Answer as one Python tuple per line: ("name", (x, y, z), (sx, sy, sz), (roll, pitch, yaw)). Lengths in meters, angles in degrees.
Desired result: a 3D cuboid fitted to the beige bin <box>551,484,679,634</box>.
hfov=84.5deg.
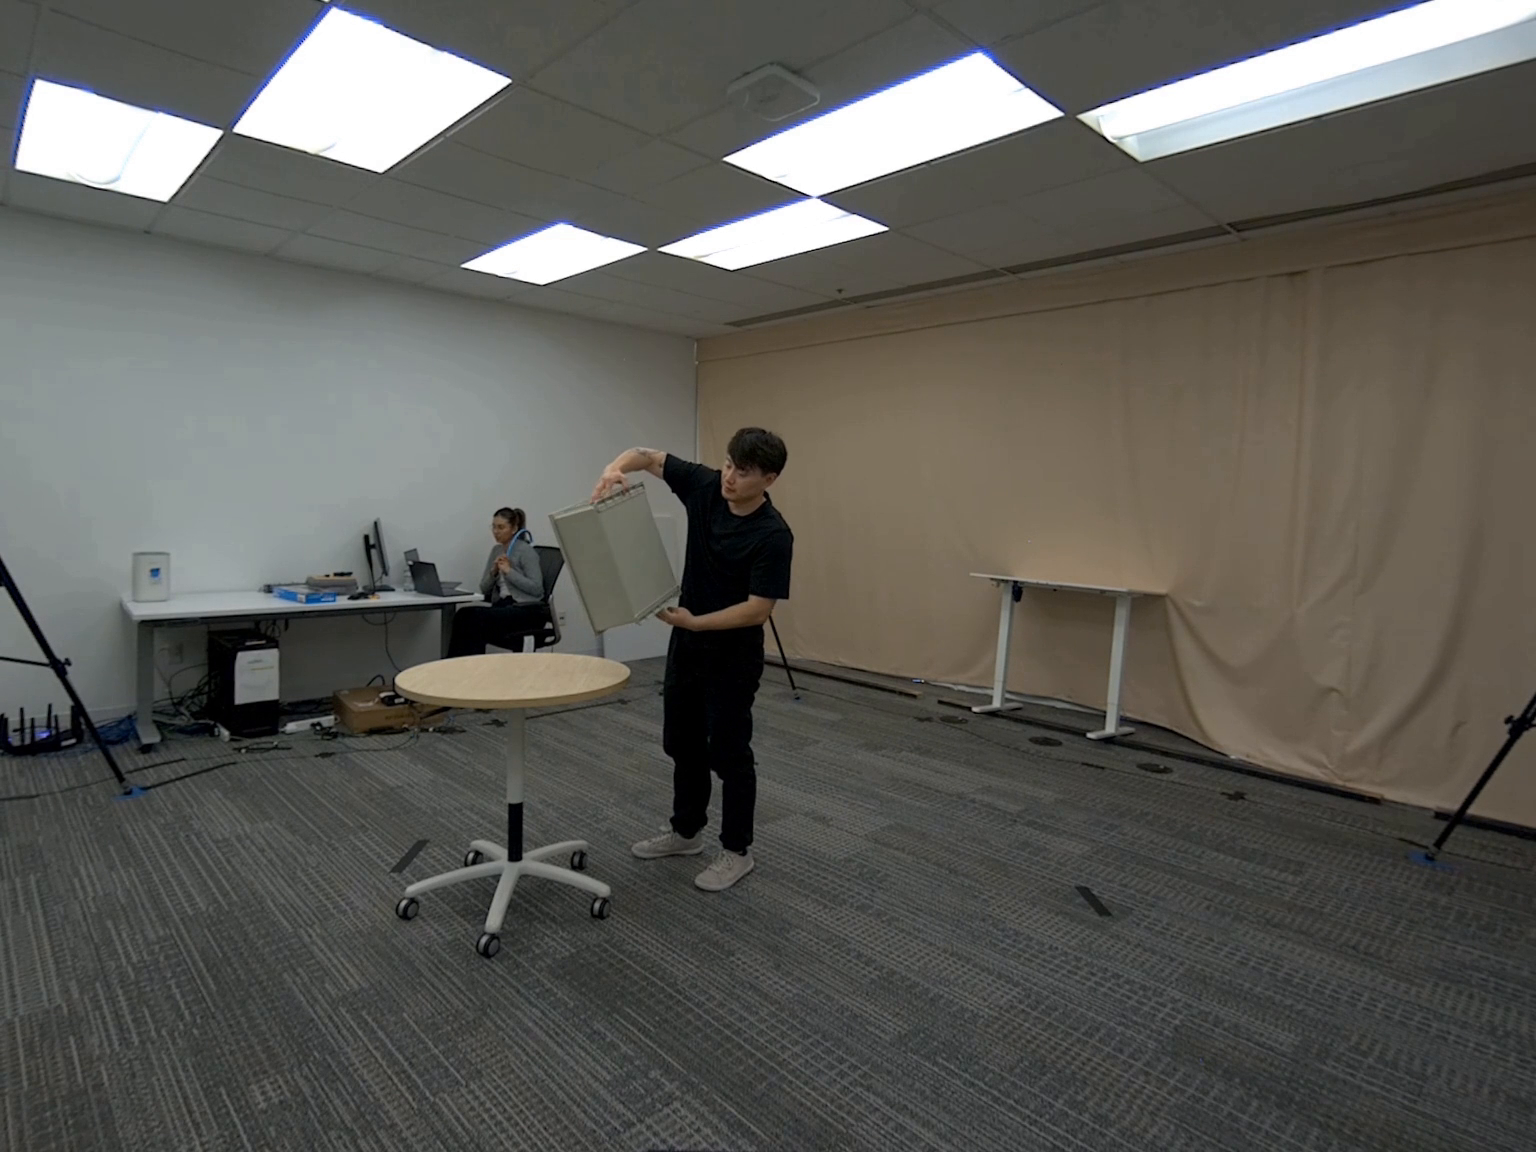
("beige bin", (-0.491, -0.069, 2.799), (0.192, 0.419, 0.375), (-12, 11, 24))
